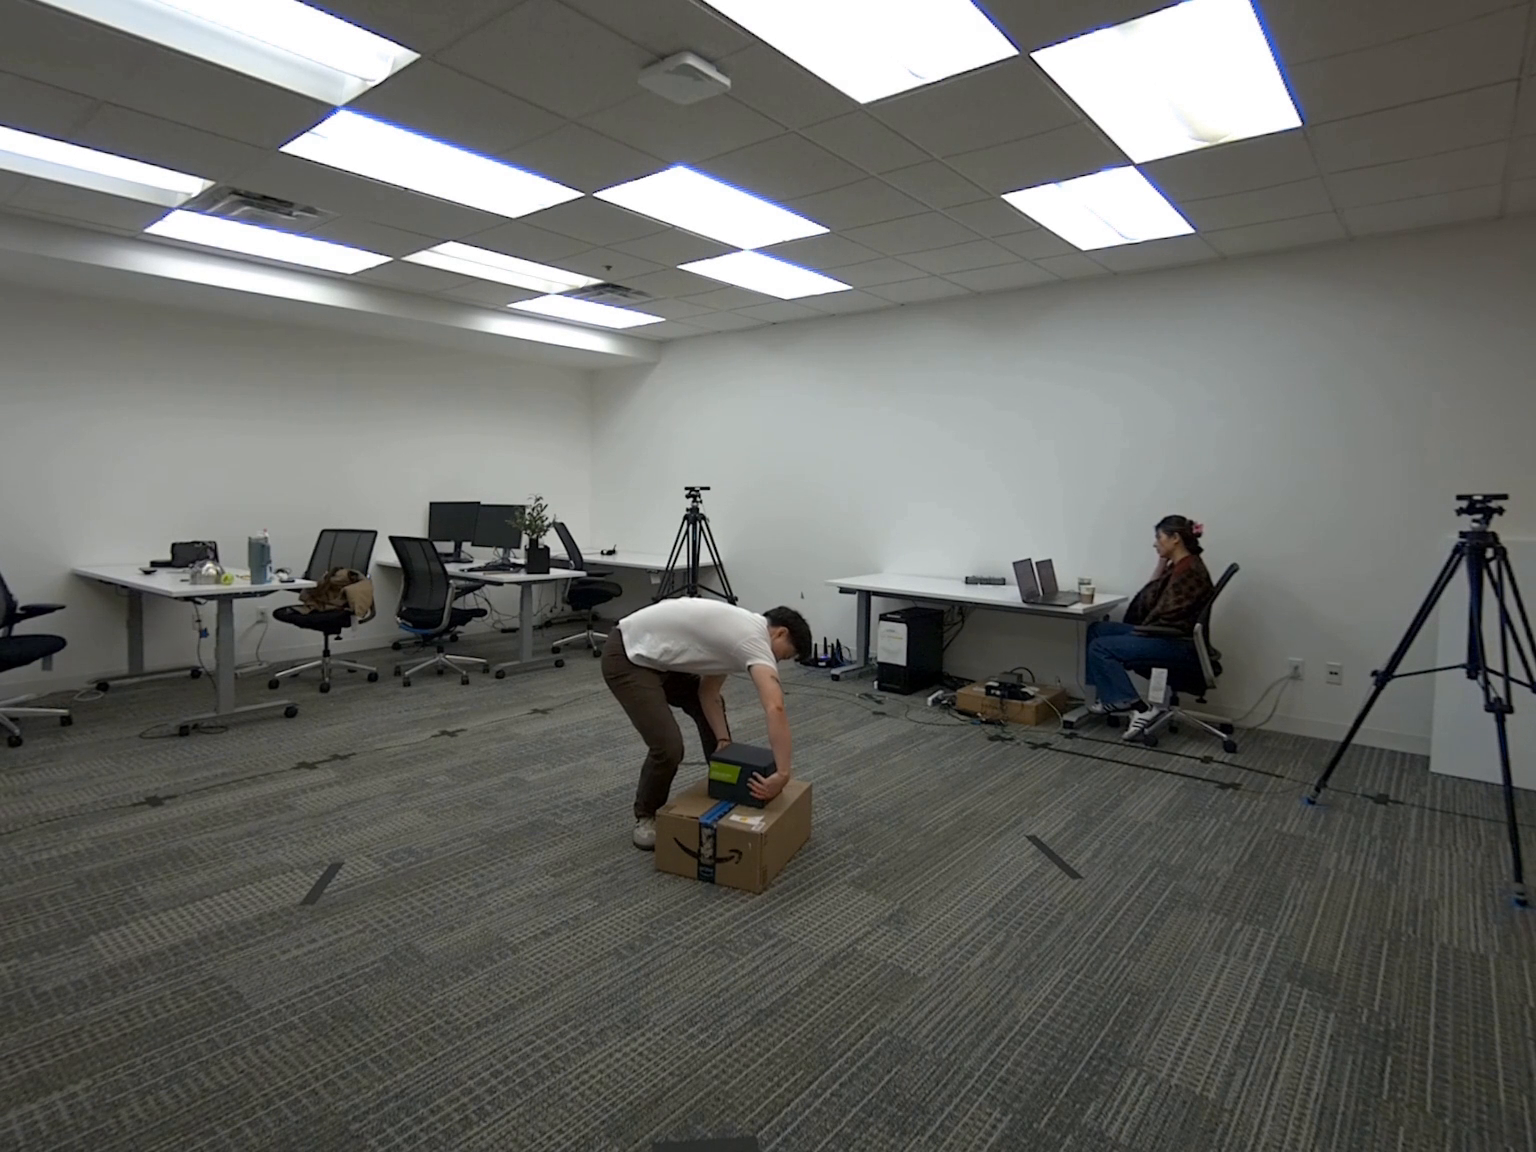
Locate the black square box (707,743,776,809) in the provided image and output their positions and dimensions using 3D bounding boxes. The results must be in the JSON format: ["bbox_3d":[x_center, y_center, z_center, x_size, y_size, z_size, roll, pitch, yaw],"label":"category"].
[{"bbox_3d":[-0.095,0.749,3.251,0.233,0.155,0.213,5,6,21],"label":"black square box"}]
